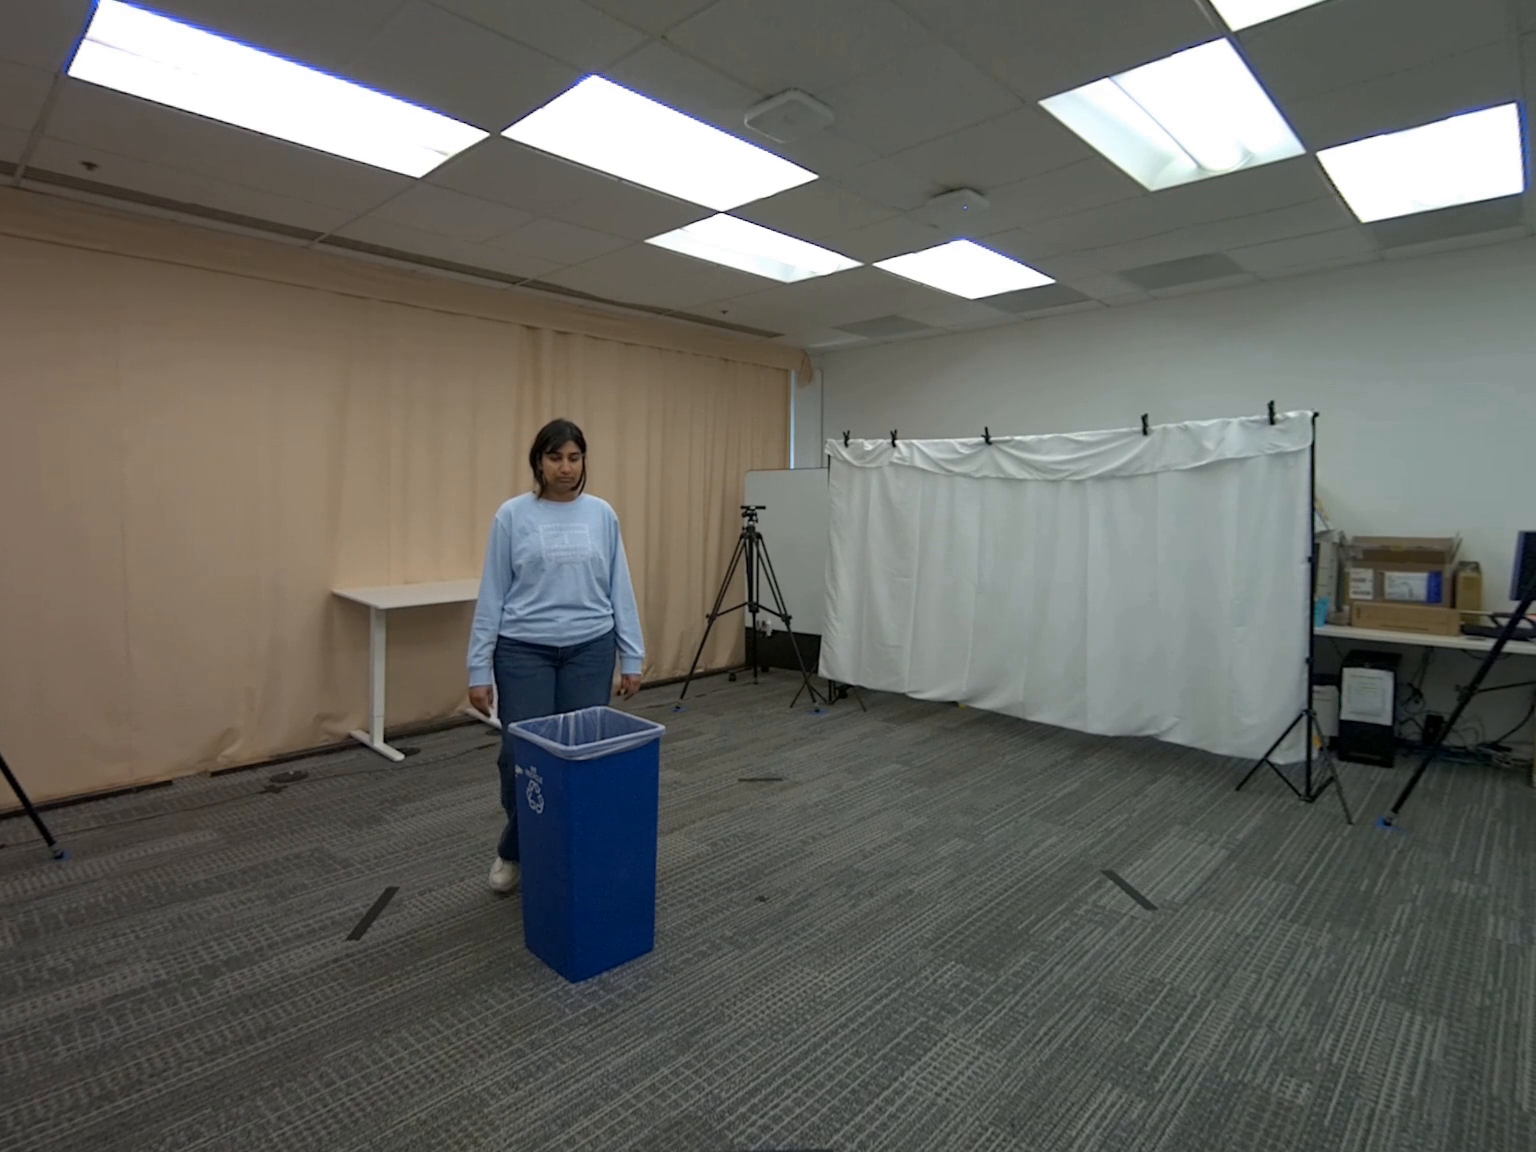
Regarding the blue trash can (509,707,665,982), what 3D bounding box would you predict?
[{"bbox_3d":[-0.557,0.822,2.635,0.366,0.712,0.386,-4,5,-44],"label":"blue trash can"}]
